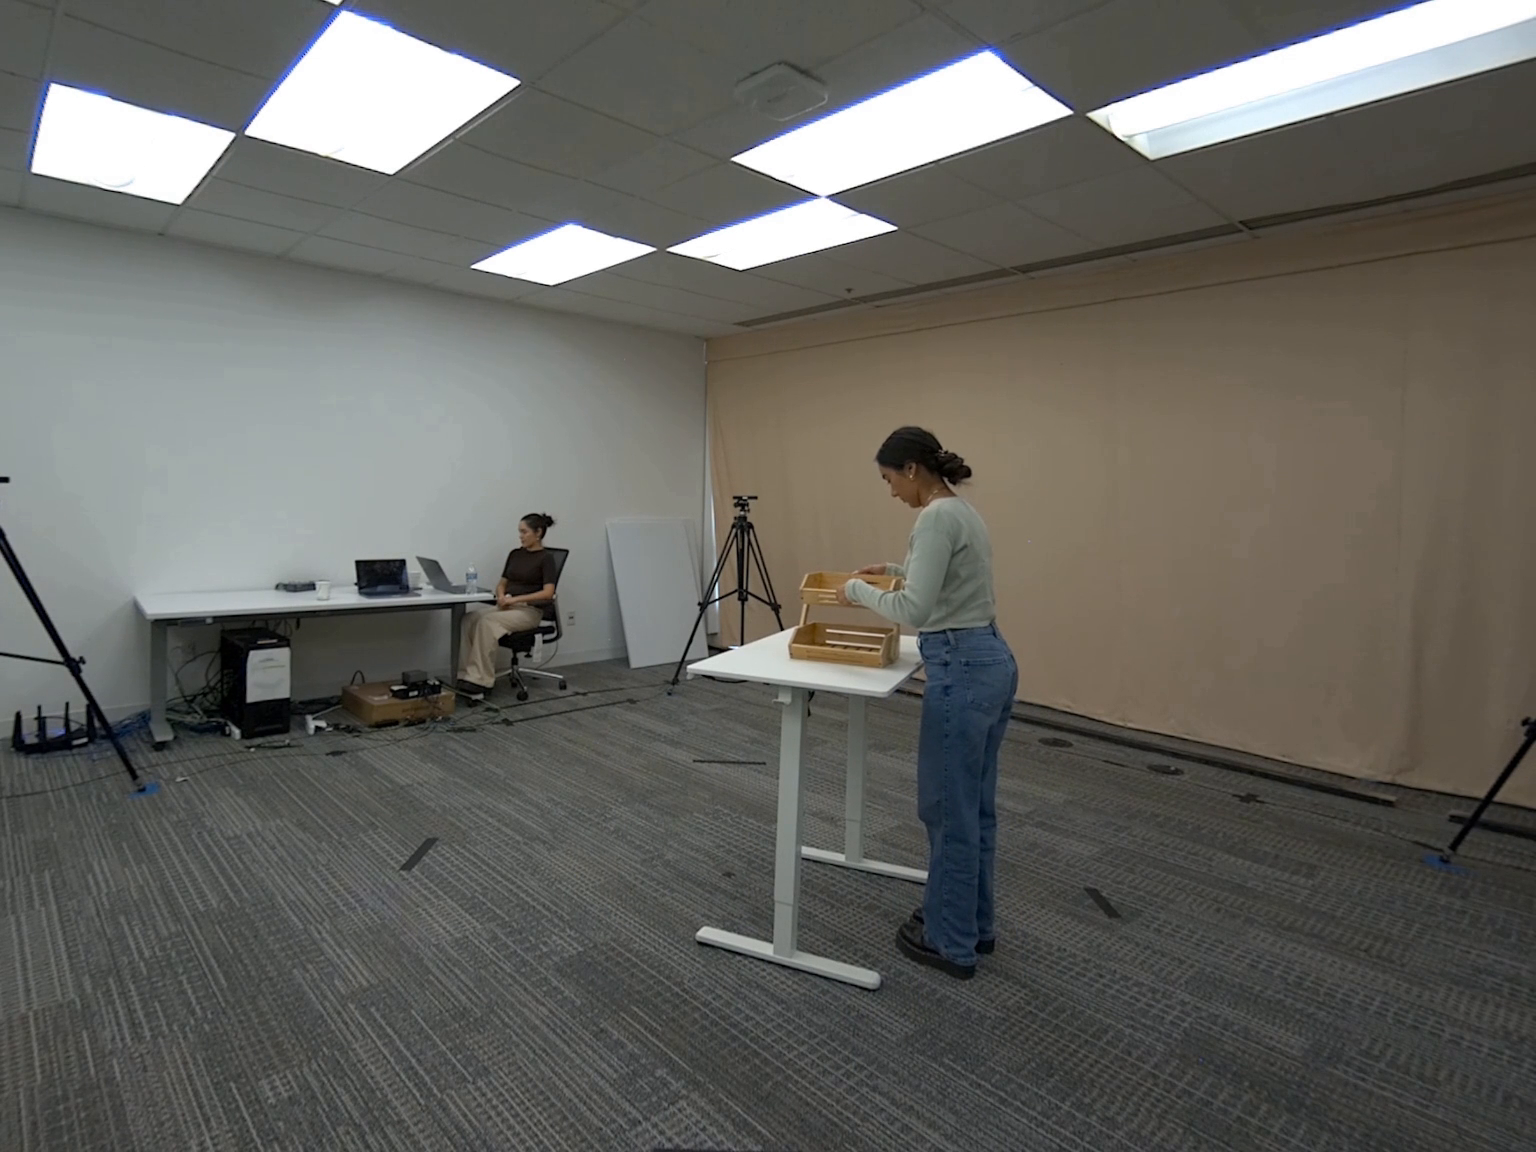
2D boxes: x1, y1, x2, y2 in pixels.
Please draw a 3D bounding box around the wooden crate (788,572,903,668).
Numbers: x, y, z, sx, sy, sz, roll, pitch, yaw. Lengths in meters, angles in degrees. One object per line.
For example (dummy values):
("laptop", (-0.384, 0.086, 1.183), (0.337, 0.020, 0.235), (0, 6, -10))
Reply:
("wooden crate", (0.250, 0.129, 2.728), (0.330, 0.272, 0.297), (3, 4, 22))
